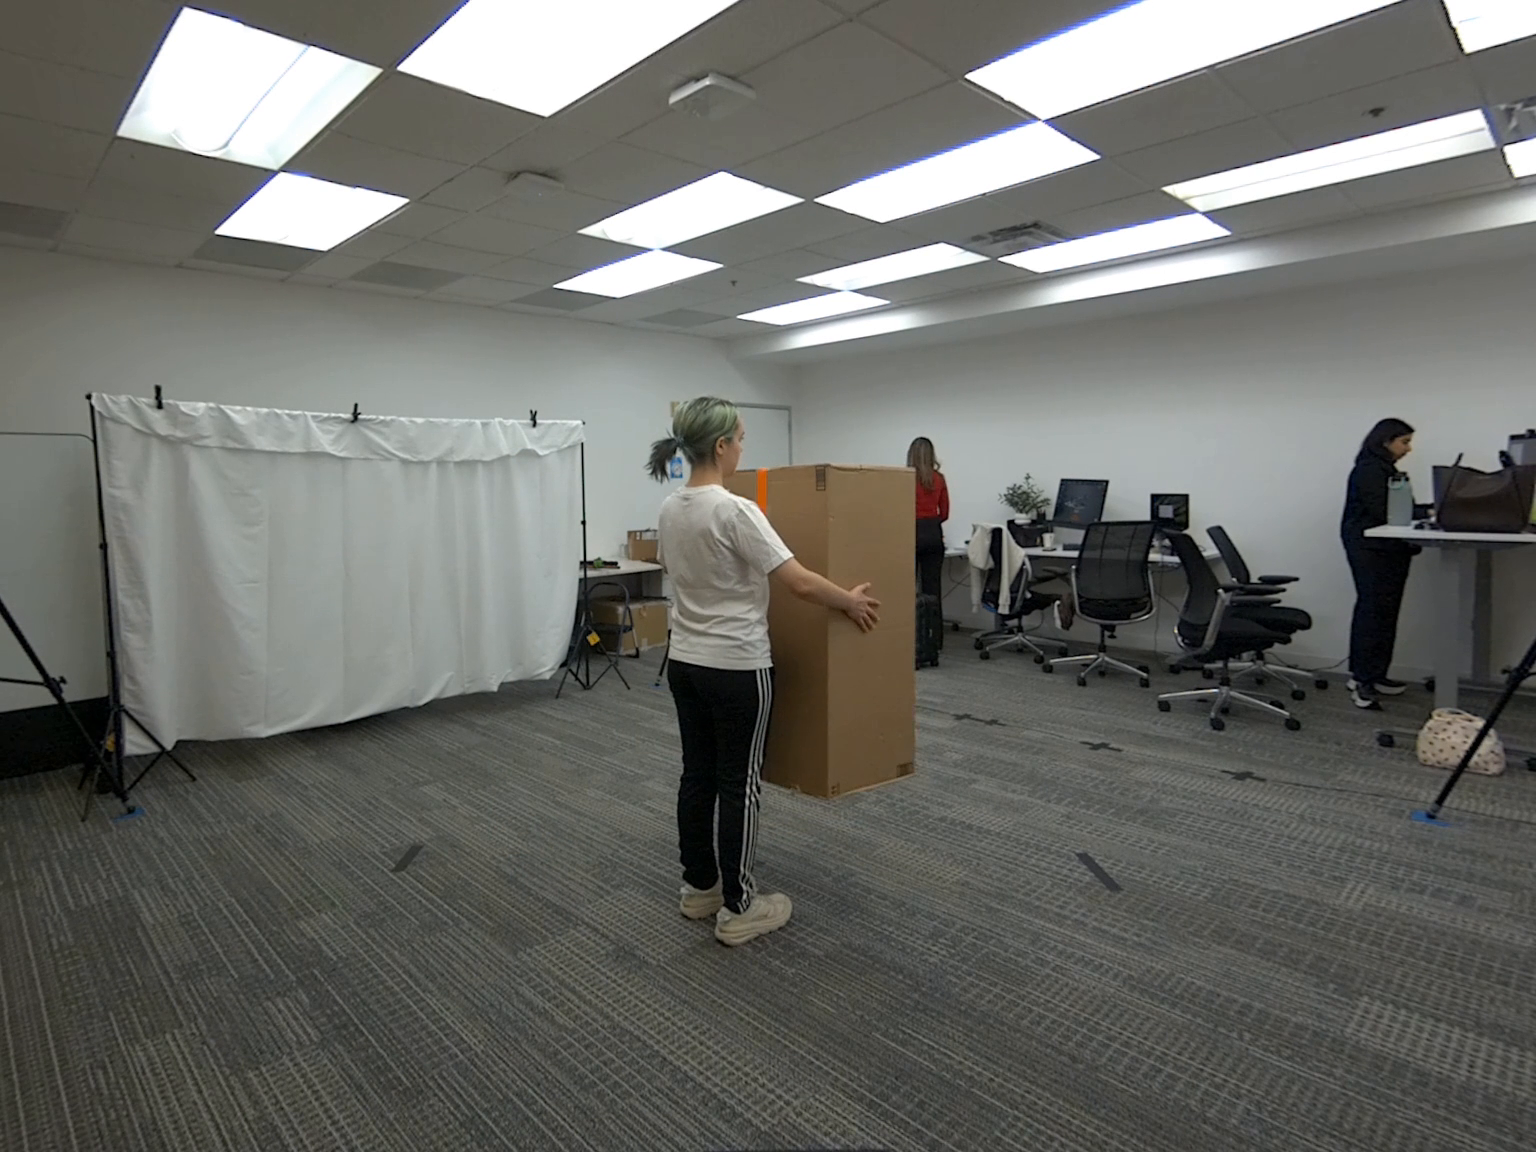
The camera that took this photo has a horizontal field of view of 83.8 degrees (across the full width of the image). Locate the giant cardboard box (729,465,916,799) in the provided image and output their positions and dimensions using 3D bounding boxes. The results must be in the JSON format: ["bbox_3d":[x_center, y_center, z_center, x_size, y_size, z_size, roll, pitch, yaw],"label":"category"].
[{"bbox_3d":[0.142,0.151,2.918,0.414,1.025,0.594,0,1,-41],"label":"giant cardboard box"}]
